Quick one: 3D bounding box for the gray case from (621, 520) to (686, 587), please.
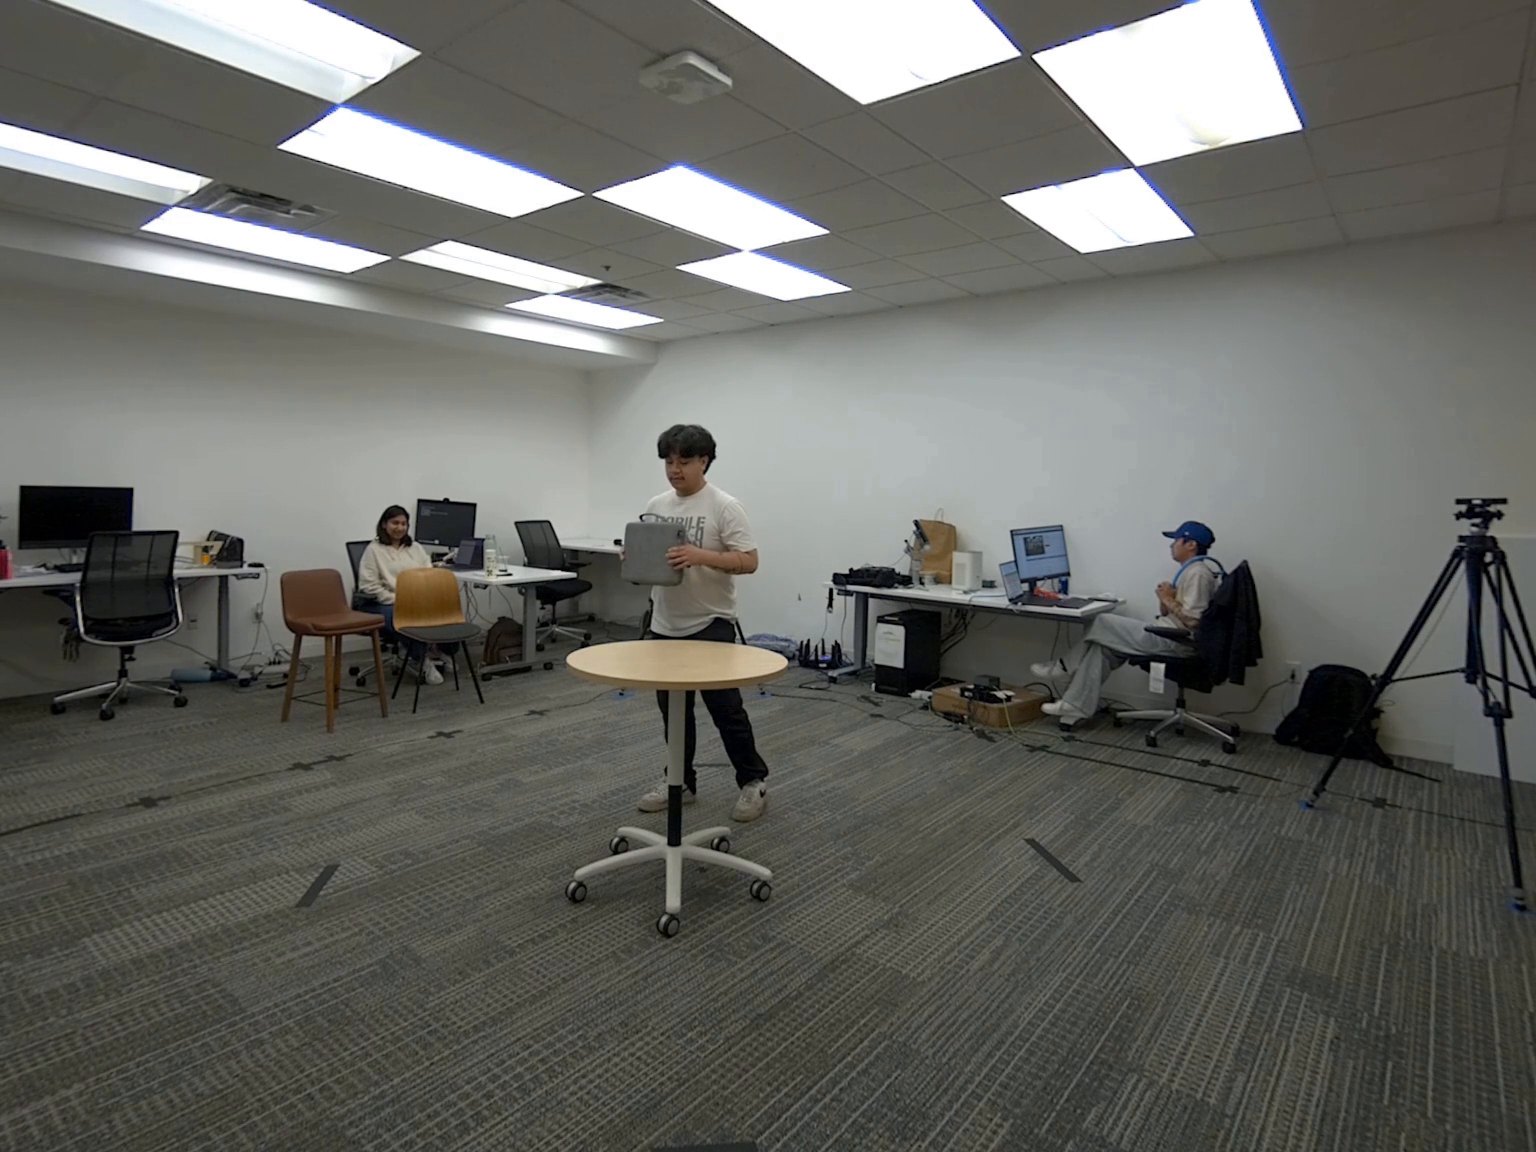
[{"bbox_3d":[-0.469,-0.100,3.457,0.264,0.261,0.101,0,-3,30],"label":"gray case"}]
